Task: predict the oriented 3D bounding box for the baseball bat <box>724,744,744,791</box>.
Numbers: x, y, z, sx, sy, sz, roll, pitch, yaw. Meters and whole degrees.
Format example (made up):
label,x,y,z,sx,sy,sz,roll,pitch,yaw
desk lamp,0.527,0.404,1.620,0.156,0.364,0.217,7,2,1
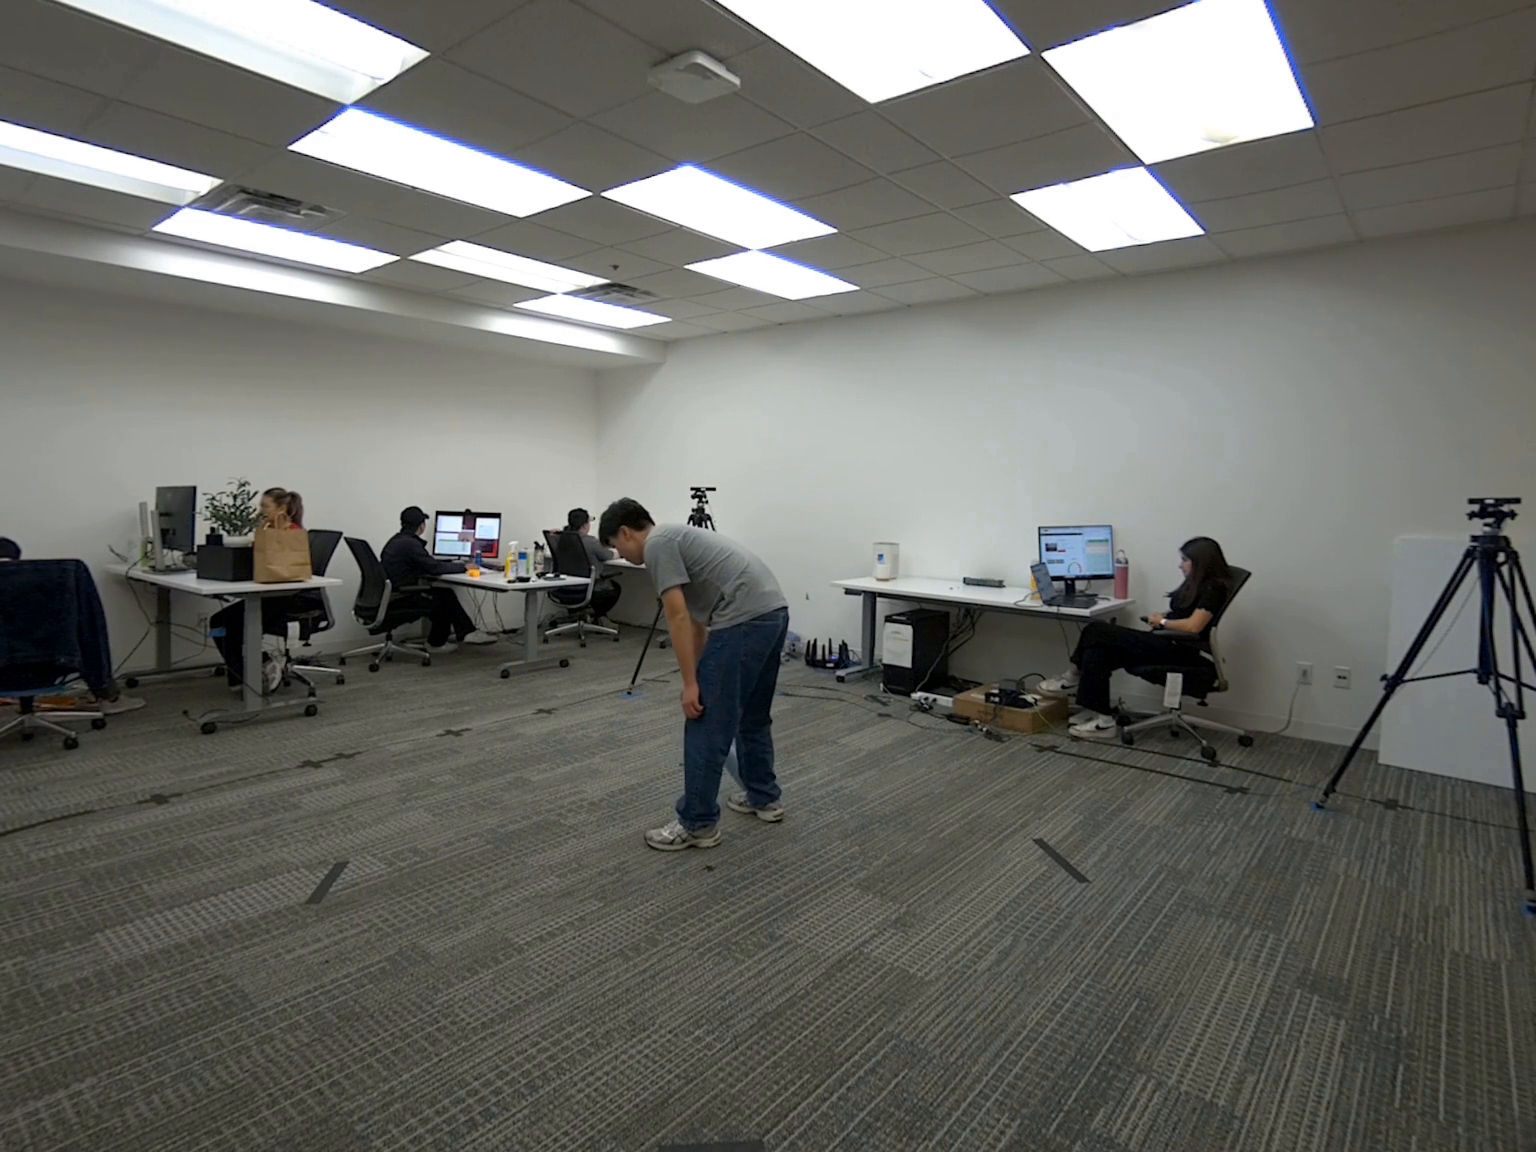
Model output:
label,x,y,z,sx,sy,sz,roll,pitch,yaw
baseball bat,-0.221,0.763,3.808,0.089,0.534,0.090,-35,12,8
